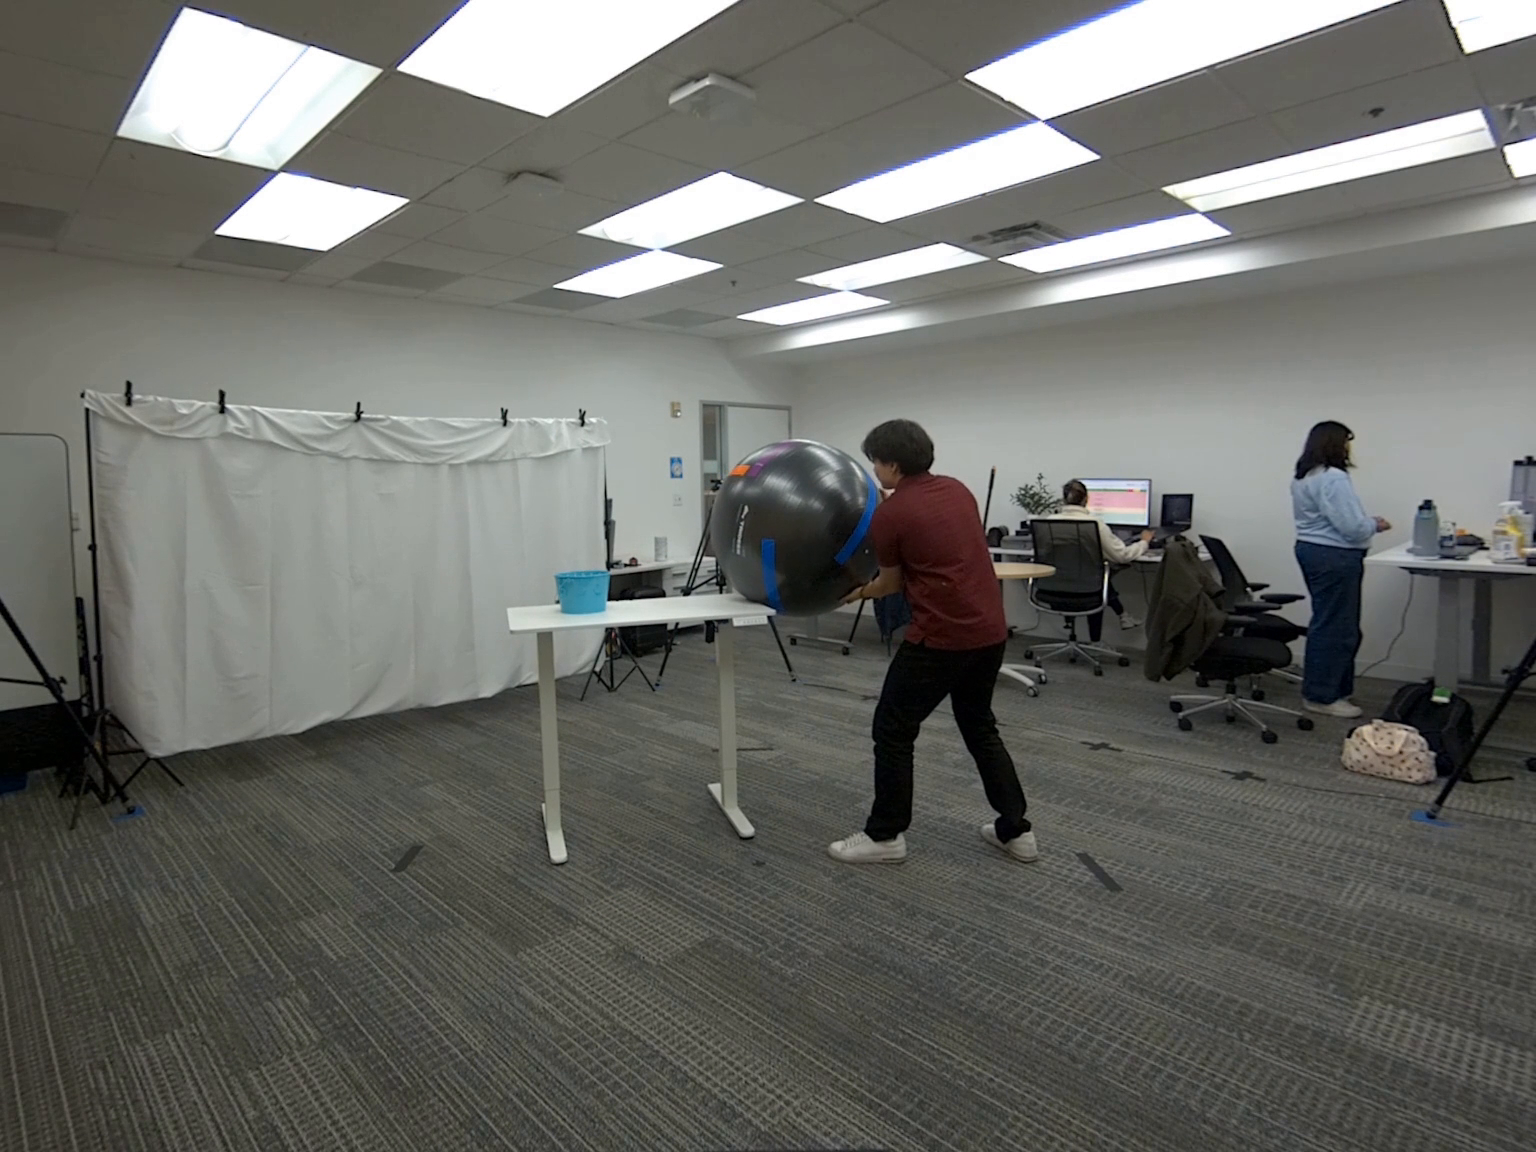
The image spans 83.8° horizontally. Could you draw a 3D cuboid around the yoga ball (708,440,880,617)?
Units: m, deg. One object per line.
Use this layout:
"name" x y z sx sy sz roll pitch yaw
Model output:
"yoga ball" 0.127 -0.199 3.676 0.757 0.755 0.762 -1 5 -2
